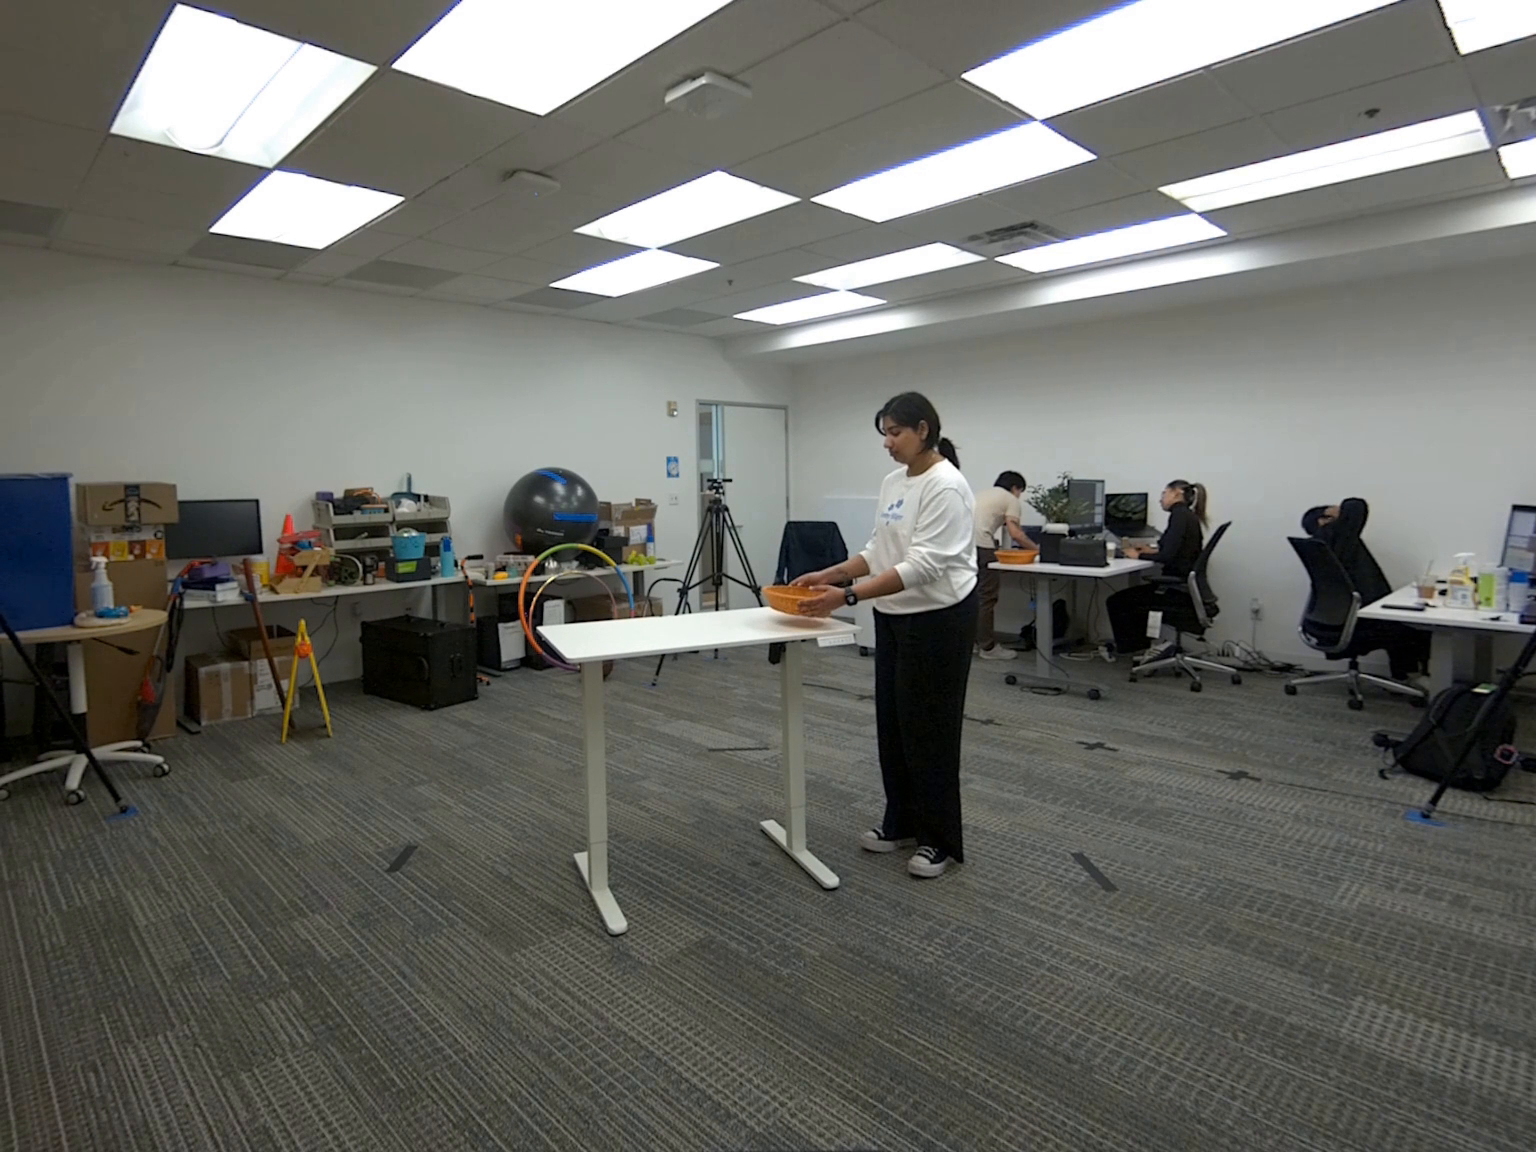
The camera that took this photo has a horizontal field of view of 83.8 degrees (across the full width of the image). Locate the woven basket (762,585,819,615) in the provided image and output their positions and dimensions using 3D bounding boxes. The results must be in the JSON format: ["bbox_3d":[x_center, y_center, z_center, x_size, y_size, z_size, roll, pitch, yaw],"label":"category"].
[{"bbox_3d":[0.146,0.088,3.021,0.248,0.073,0.357,-1,5,-17],"label":"woven basket"}]
